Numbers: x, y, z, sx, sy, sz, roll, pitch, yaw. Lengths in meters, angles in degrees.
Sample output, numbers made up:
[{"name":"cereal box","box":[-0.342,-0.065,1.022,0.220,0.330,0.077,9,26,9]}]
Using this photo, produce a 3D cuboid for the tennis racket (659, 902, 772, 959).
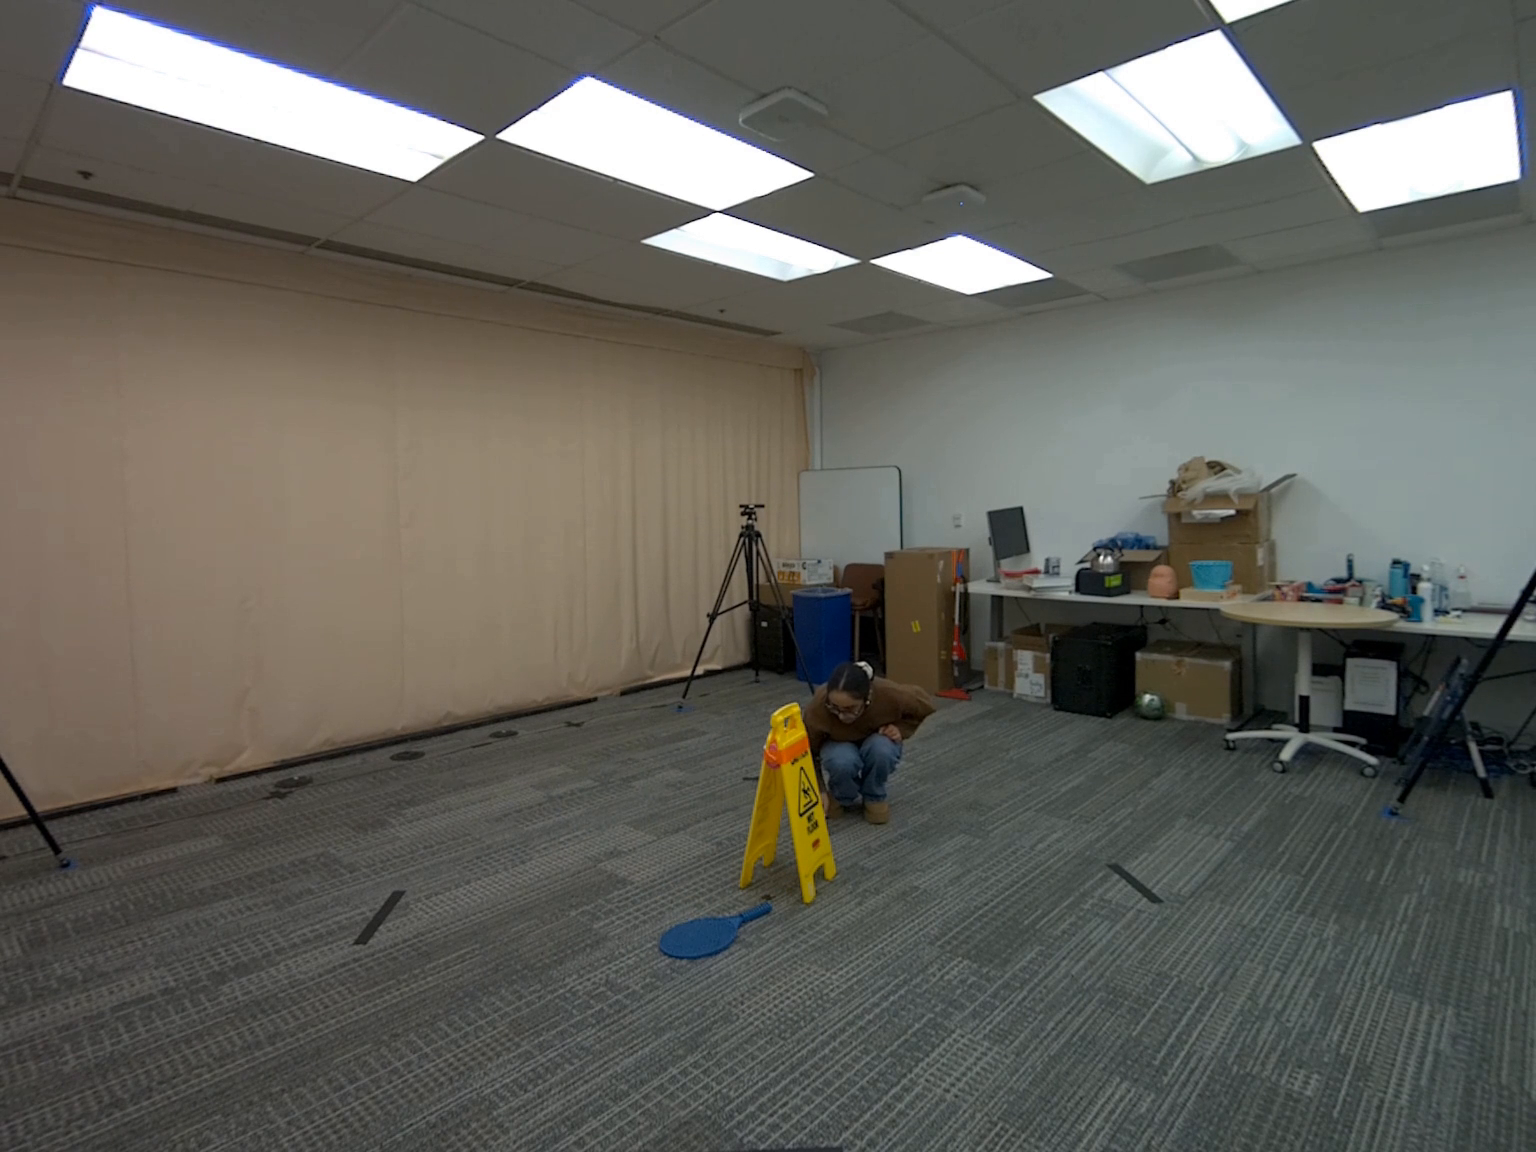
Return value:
[{"name":"tennis racket","box":[-0.158,1.149,2.752,0.420,0.031,0.221,-7,7,-40]}]
